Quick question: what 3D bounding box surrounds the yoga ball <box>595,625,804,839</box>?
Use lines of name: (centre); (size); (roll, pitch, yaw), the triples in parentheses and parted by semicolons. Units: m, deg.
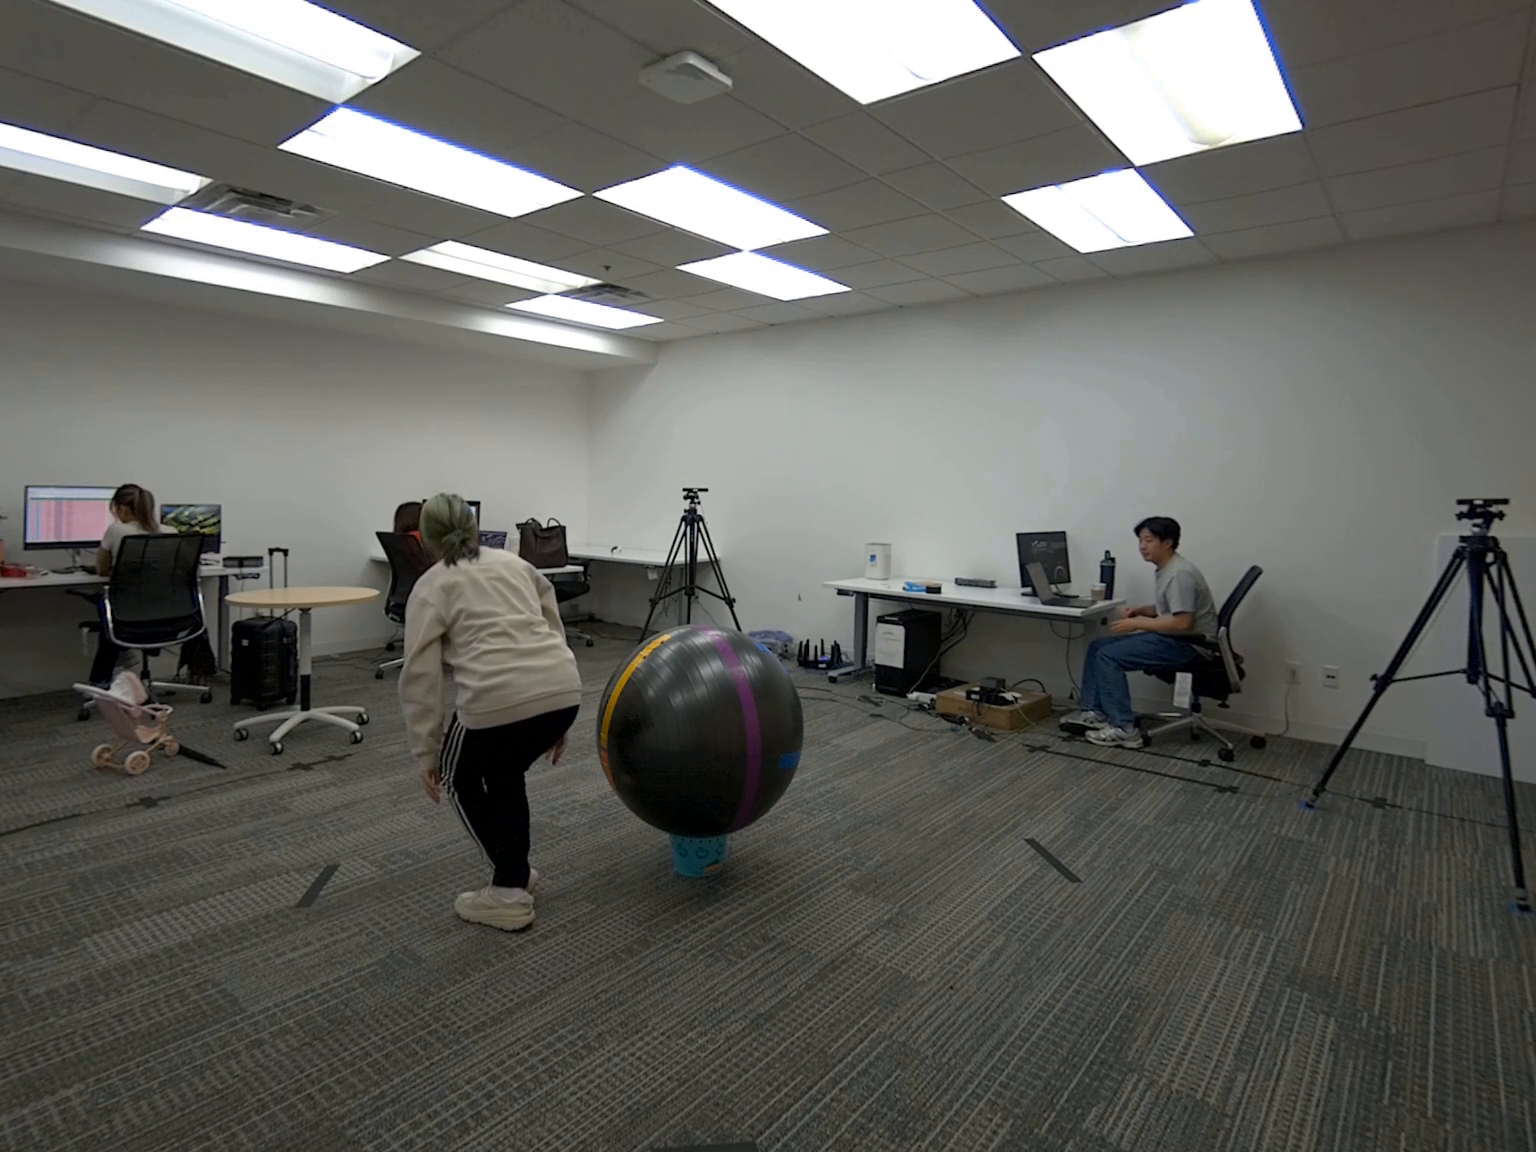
yoga ball: (-0.256, 0.555, 3.110); (0.757, 0.755, 0.762); (1, 4, -2)
